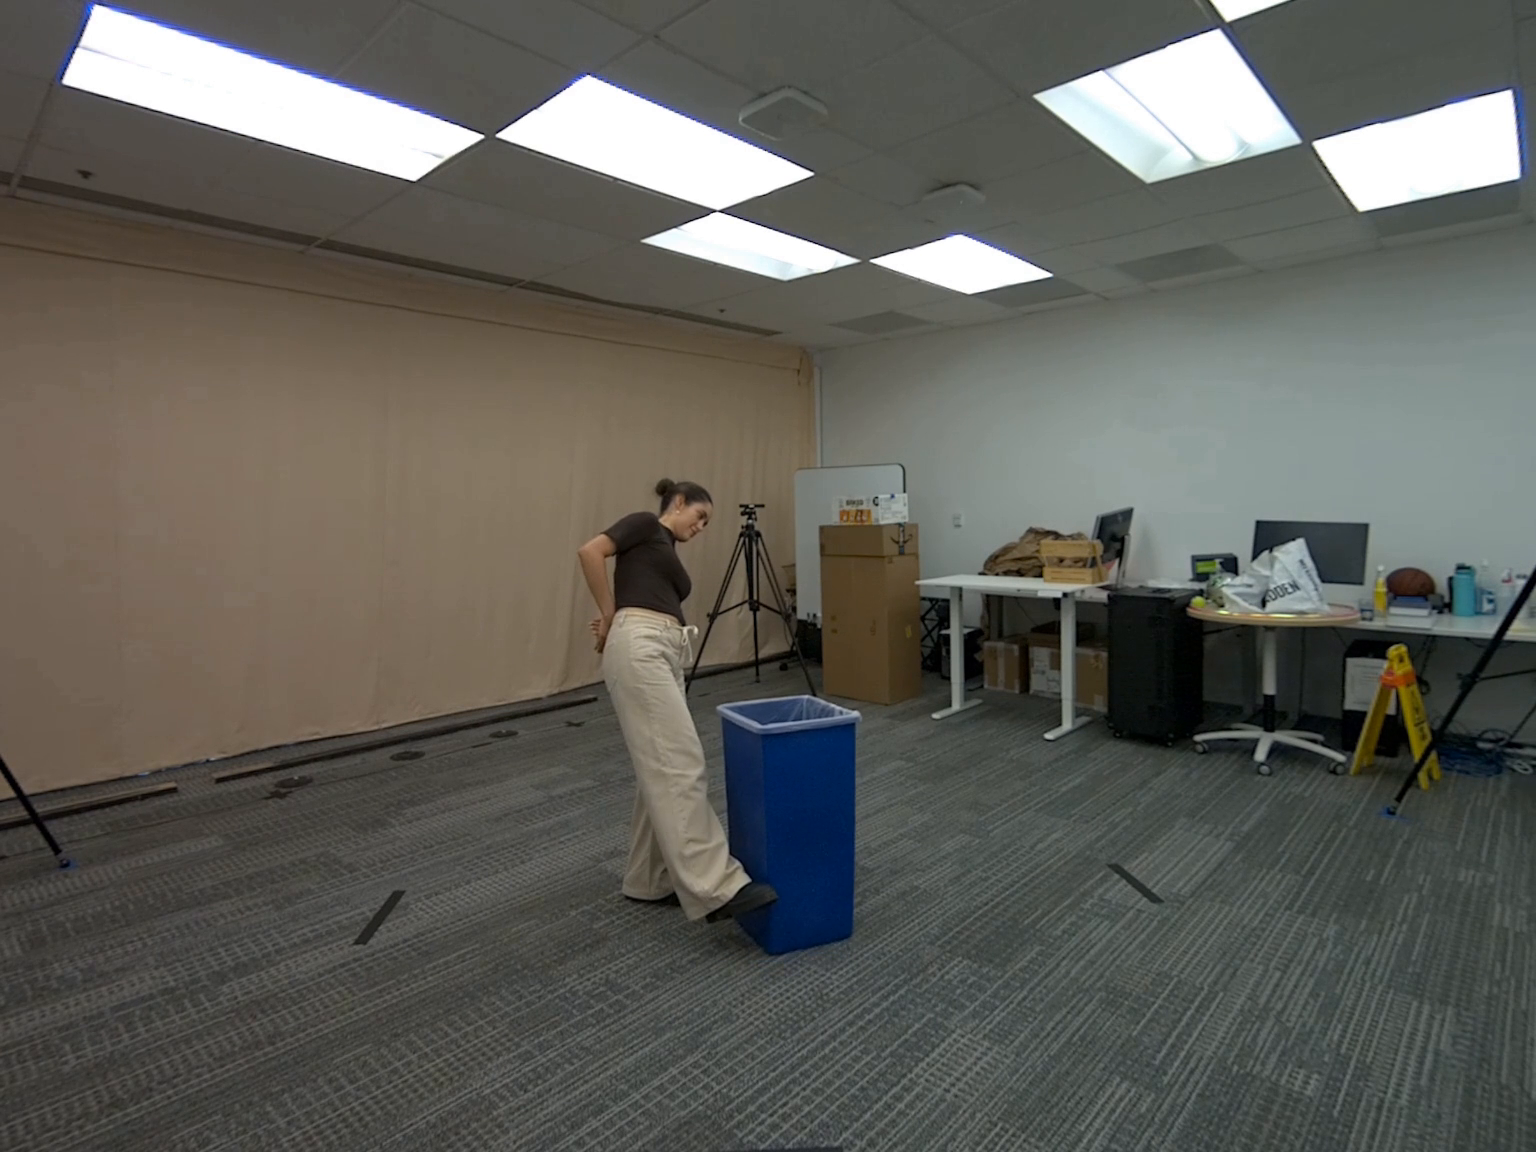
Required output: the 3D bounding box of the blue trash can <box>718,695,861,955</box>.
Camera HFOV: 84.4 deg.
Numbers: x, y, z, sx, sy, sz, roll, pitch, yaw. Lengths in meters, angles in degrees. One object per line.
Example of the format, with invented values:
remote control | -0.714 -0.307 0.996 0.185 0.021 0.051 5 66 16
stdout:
blue trash can | 0.068 0.793 2.771 0.369 0.712 0.384 -2 2 -26
